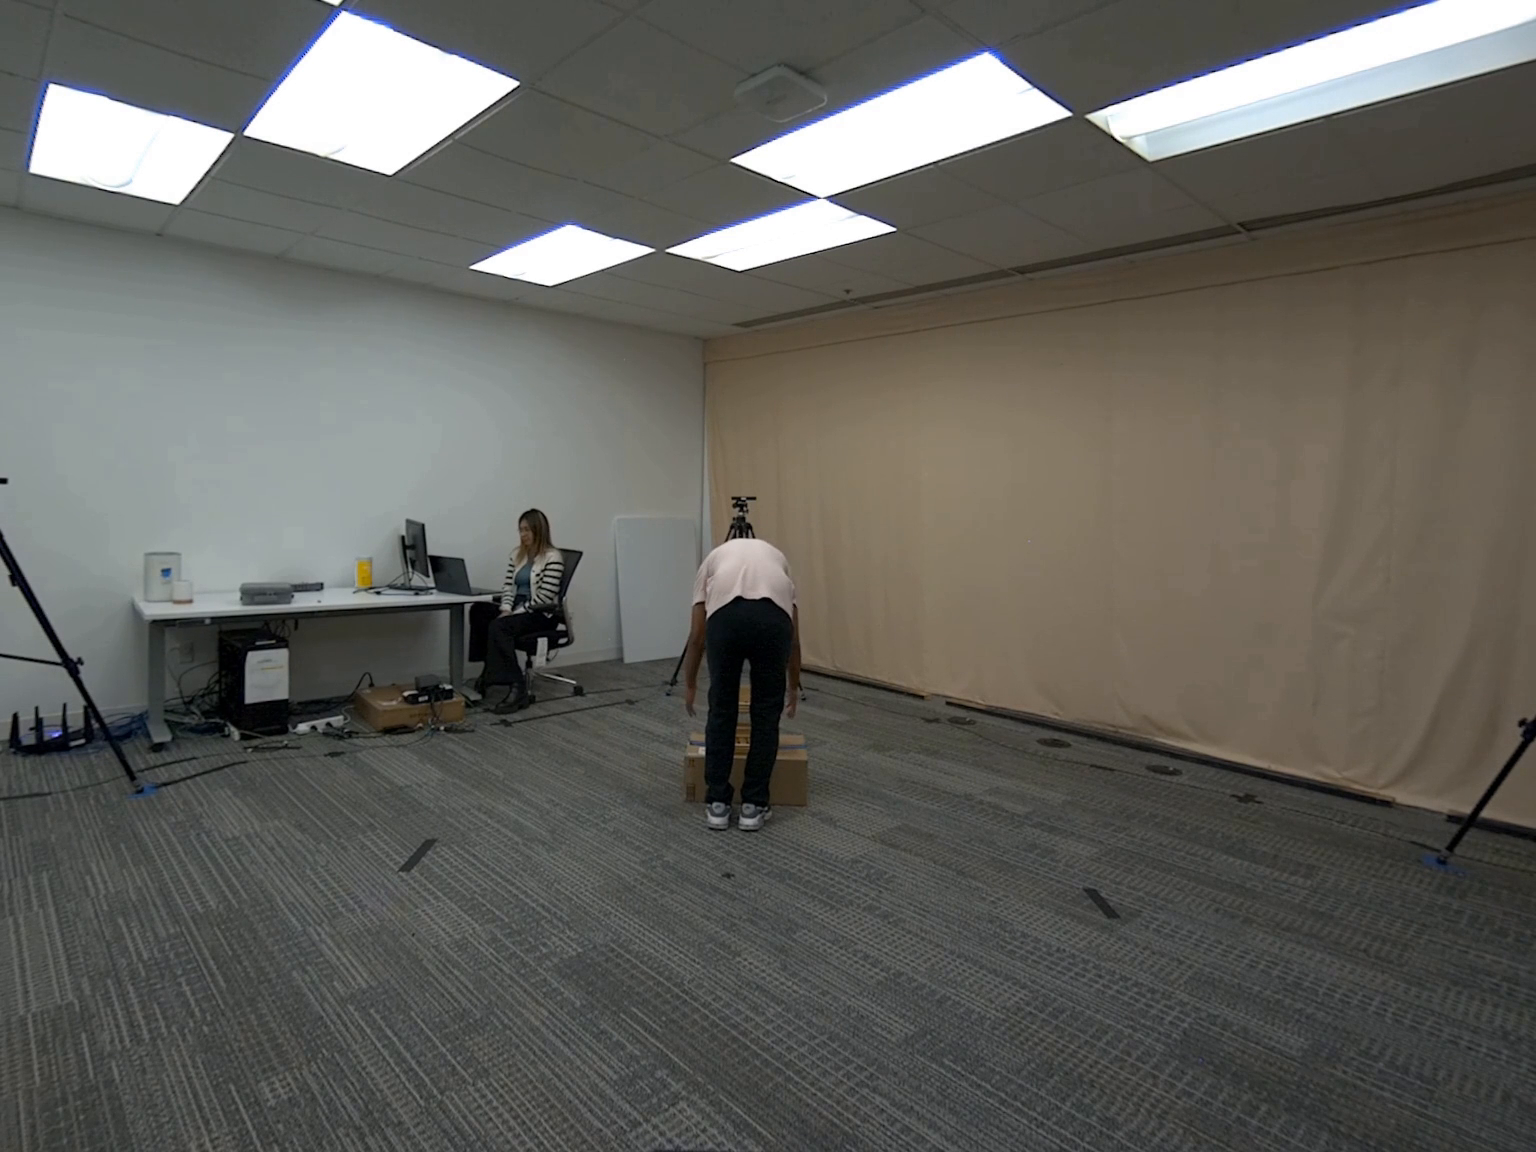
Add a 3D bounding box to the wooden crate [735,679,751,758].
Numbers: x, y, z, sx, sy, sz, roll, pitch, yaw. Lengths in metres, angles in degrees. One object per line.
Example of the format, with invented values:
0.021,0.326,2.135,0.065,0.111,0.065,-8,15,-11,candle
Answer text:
-0.120,0.688,4.027,0.323,0.273,0.304,2,3,-6,wooden crate
